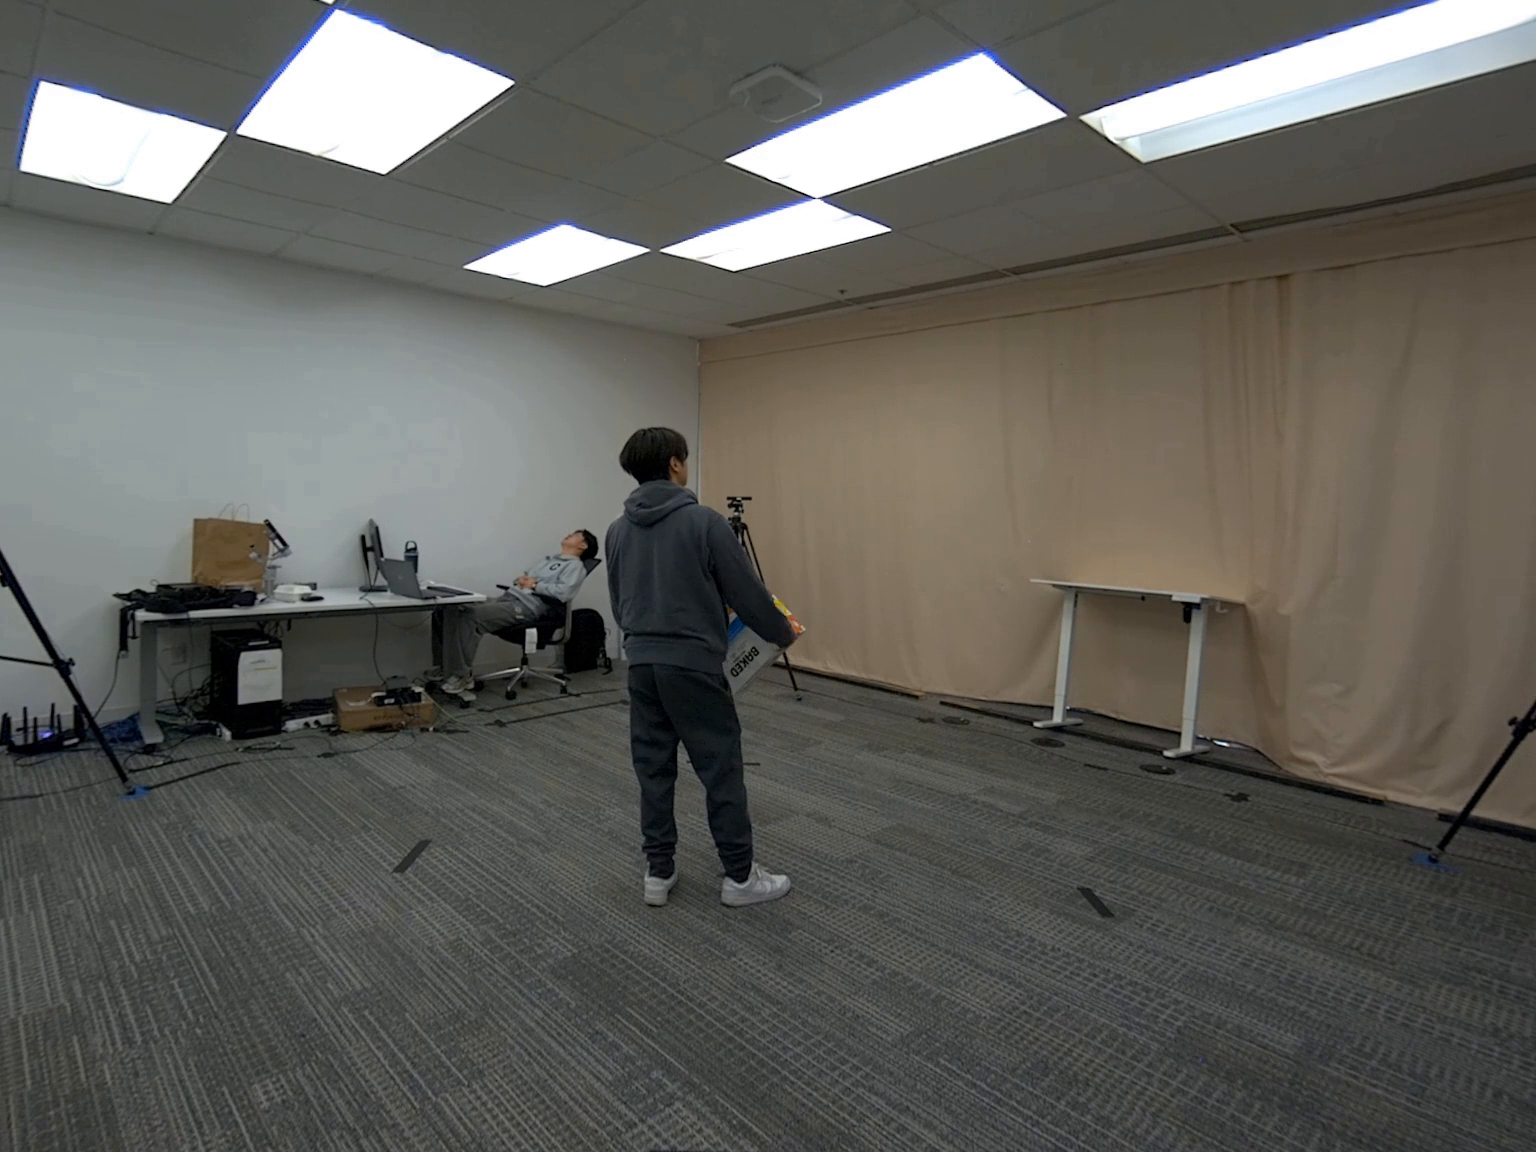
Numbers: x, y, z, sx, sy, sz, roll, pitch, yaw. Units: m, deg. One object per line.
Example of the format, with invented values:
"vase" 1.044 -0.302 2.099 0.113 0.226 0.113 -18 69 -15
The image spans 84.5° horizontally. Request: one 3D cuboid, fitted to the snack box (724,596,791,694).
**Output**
"snack box" -0.129 0.237 3.311 0.346 0.405 0.202 47 18 15
